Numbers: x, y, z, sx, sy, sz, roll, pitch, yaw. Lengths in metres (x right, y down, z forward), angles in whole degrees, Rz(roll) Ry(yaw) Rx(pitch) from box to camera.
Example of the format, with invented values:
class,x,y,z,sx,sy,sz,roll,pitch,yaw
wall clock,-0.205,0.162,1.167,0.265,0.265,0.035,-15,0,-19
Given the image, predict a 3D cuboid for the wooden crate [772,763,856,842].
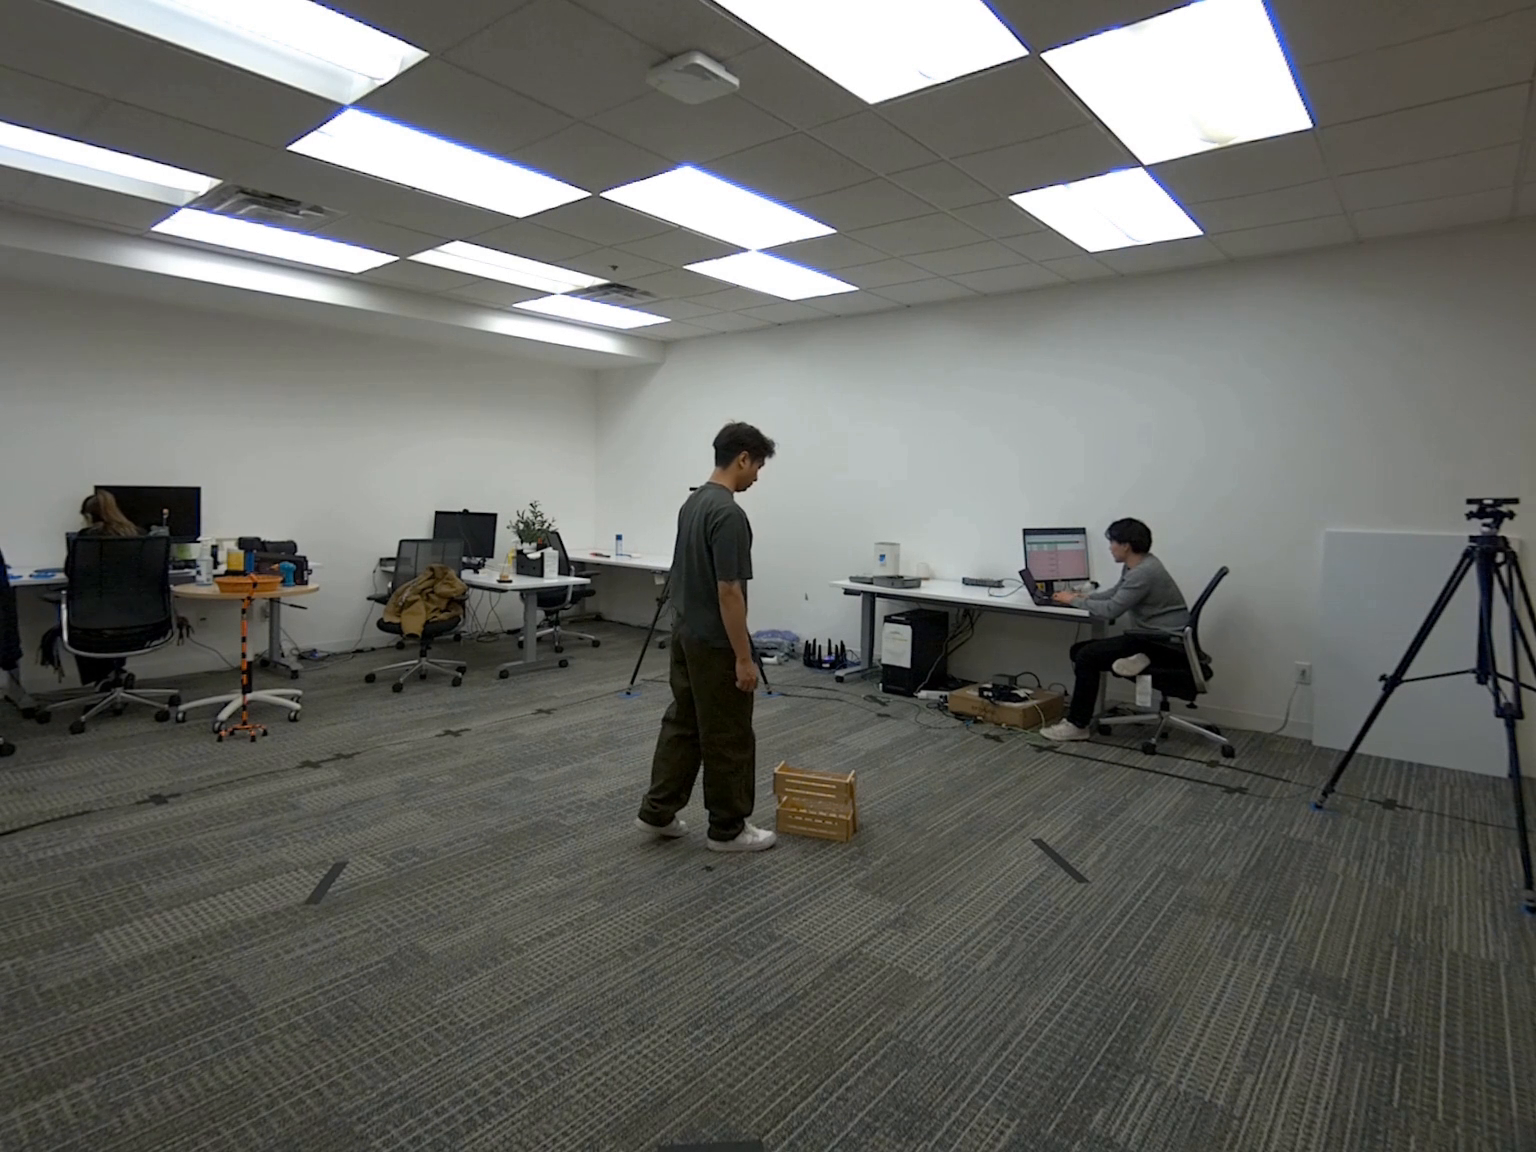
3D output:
class,x,y,z,sx,sy,sz,roll,pitch,yaw
wooden crate,0.195,0.909,3.514,0.331,0.272,0.297,3,5,17
